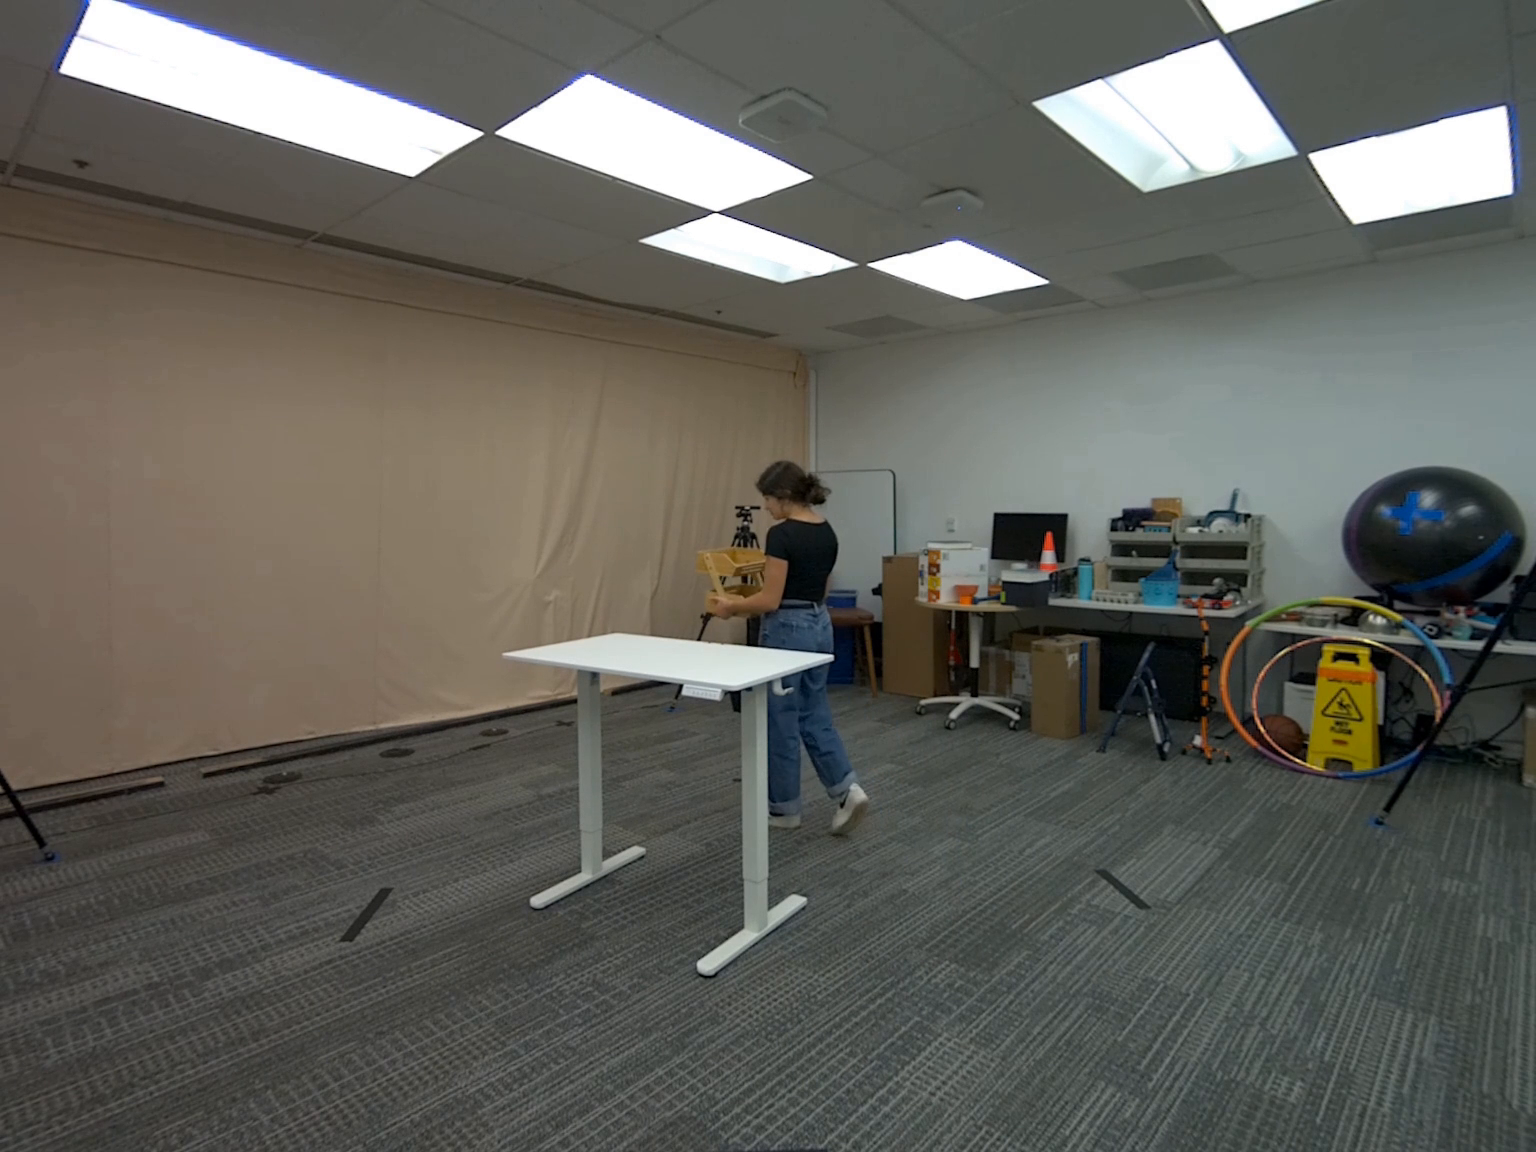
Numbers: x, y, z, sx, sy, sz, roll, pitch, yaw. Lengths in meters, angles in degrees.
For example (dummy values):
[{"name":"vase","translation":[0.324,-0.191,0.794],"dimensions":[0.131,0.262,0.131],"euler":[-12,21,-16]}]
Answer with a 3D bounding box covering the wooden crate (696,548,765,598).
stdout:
[{"name":"wooden crate","translation":[-0.109,0.021,3.756],"dimensions":[0.311,0.272,0.316],"euler":[6,8,31]}]
